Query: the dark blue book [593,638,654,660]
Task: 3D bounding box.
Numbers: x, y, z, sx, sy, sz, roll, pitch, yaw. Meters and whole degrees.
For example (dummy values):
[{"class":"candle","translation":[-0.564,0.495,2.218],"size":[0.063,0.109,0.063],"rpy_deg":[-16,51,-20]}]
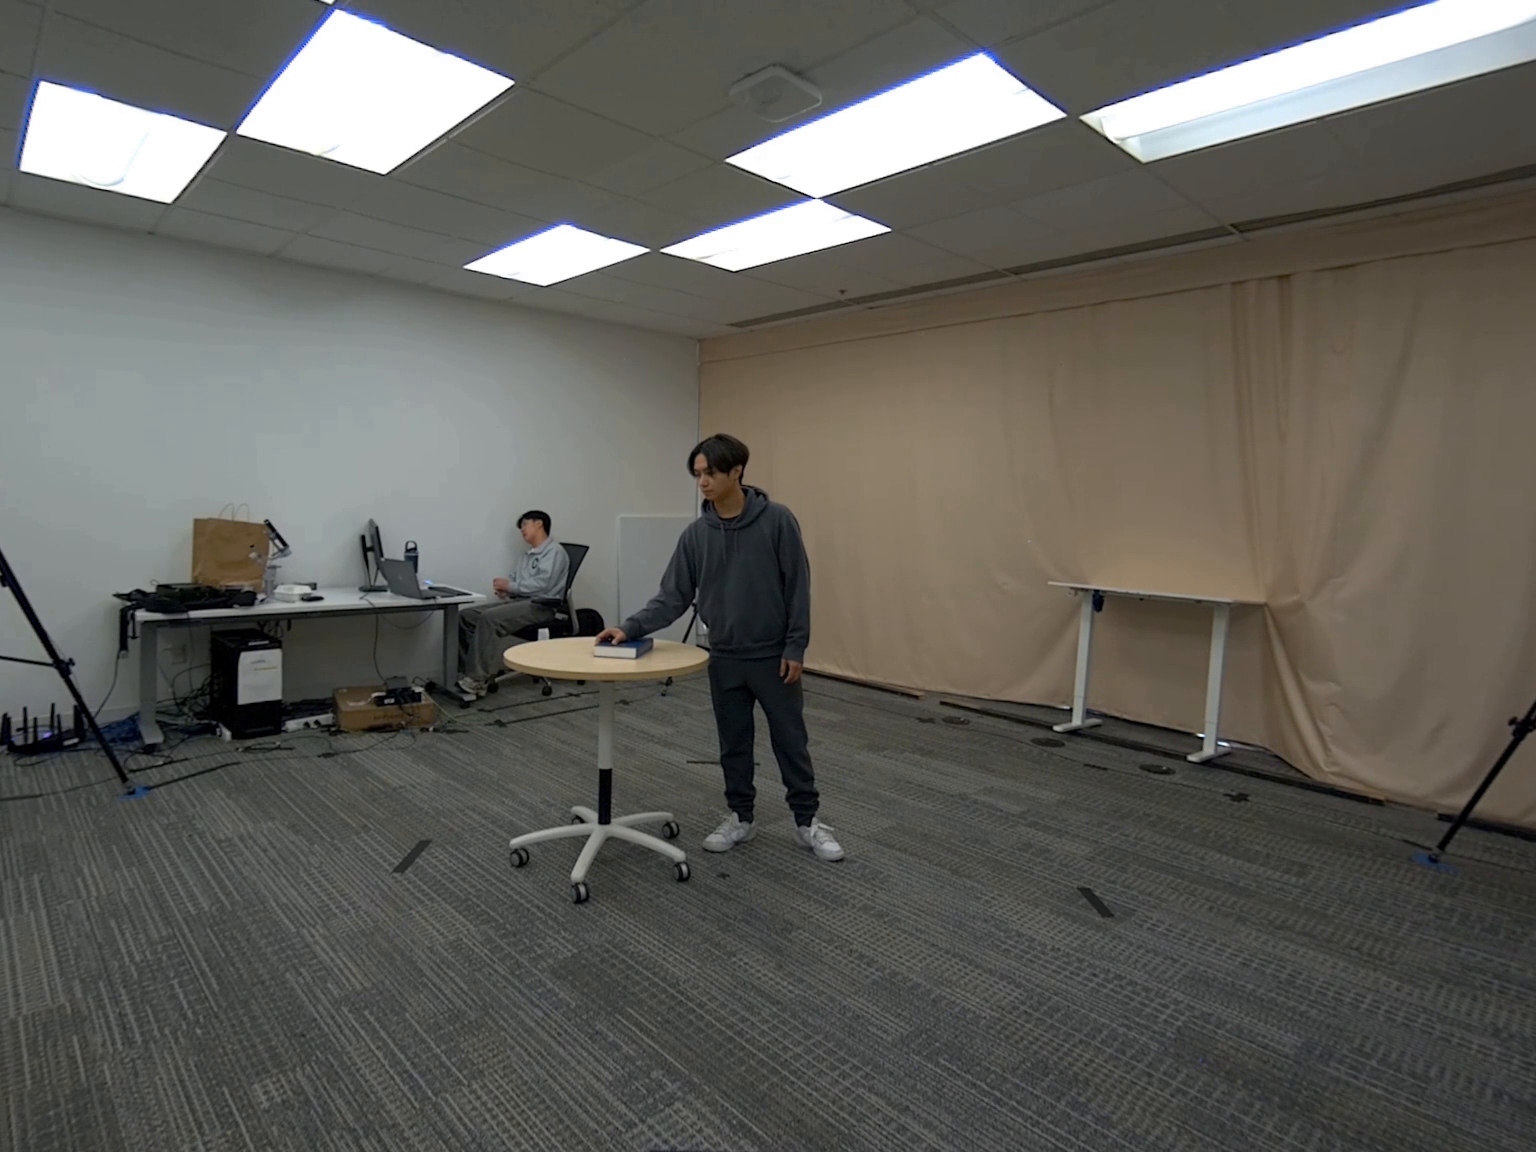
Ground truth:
[{"class":"dark blue book","translation":[-0.551,0.271,3.198],"size":[0.165,0.045,0.244],"rpy_deg":[2,5,8]}]
